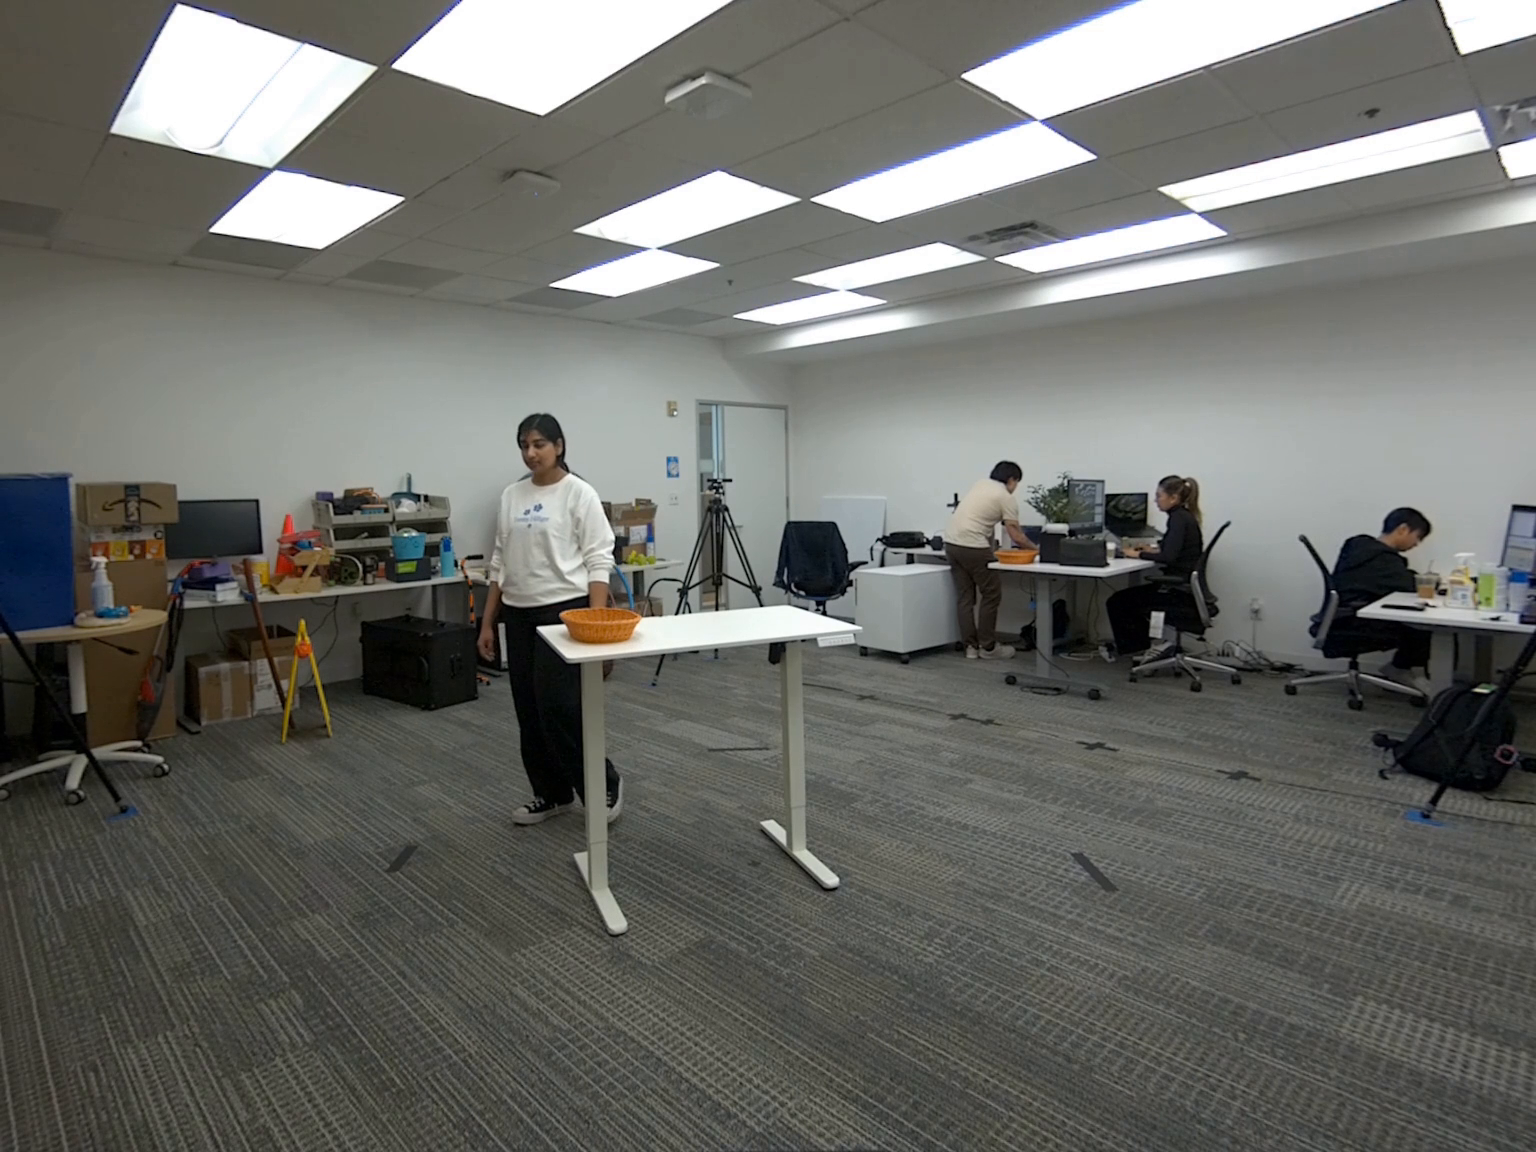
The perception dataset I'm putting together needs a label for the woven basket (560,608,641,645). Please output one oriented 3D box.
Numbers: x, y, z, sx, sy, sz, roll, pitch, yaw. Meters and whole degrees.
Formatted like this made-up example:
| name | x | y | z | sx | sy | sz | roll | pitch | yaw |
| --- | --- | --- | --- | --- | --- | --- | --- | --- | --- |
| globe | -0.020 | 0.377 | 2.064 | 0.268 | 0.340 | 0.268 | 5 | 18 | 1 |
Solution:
| name | x | y | z | sx | sy | sz | roll | pitch | yaw |
| --- | --- | --- | --- | --- | --- | --- | --- | --- | --- |
| woven basket | -0.572 | 0.173 | 2.862 | 0.248 | 0.073 | 0.358 | -1 | 5 | -19 |
